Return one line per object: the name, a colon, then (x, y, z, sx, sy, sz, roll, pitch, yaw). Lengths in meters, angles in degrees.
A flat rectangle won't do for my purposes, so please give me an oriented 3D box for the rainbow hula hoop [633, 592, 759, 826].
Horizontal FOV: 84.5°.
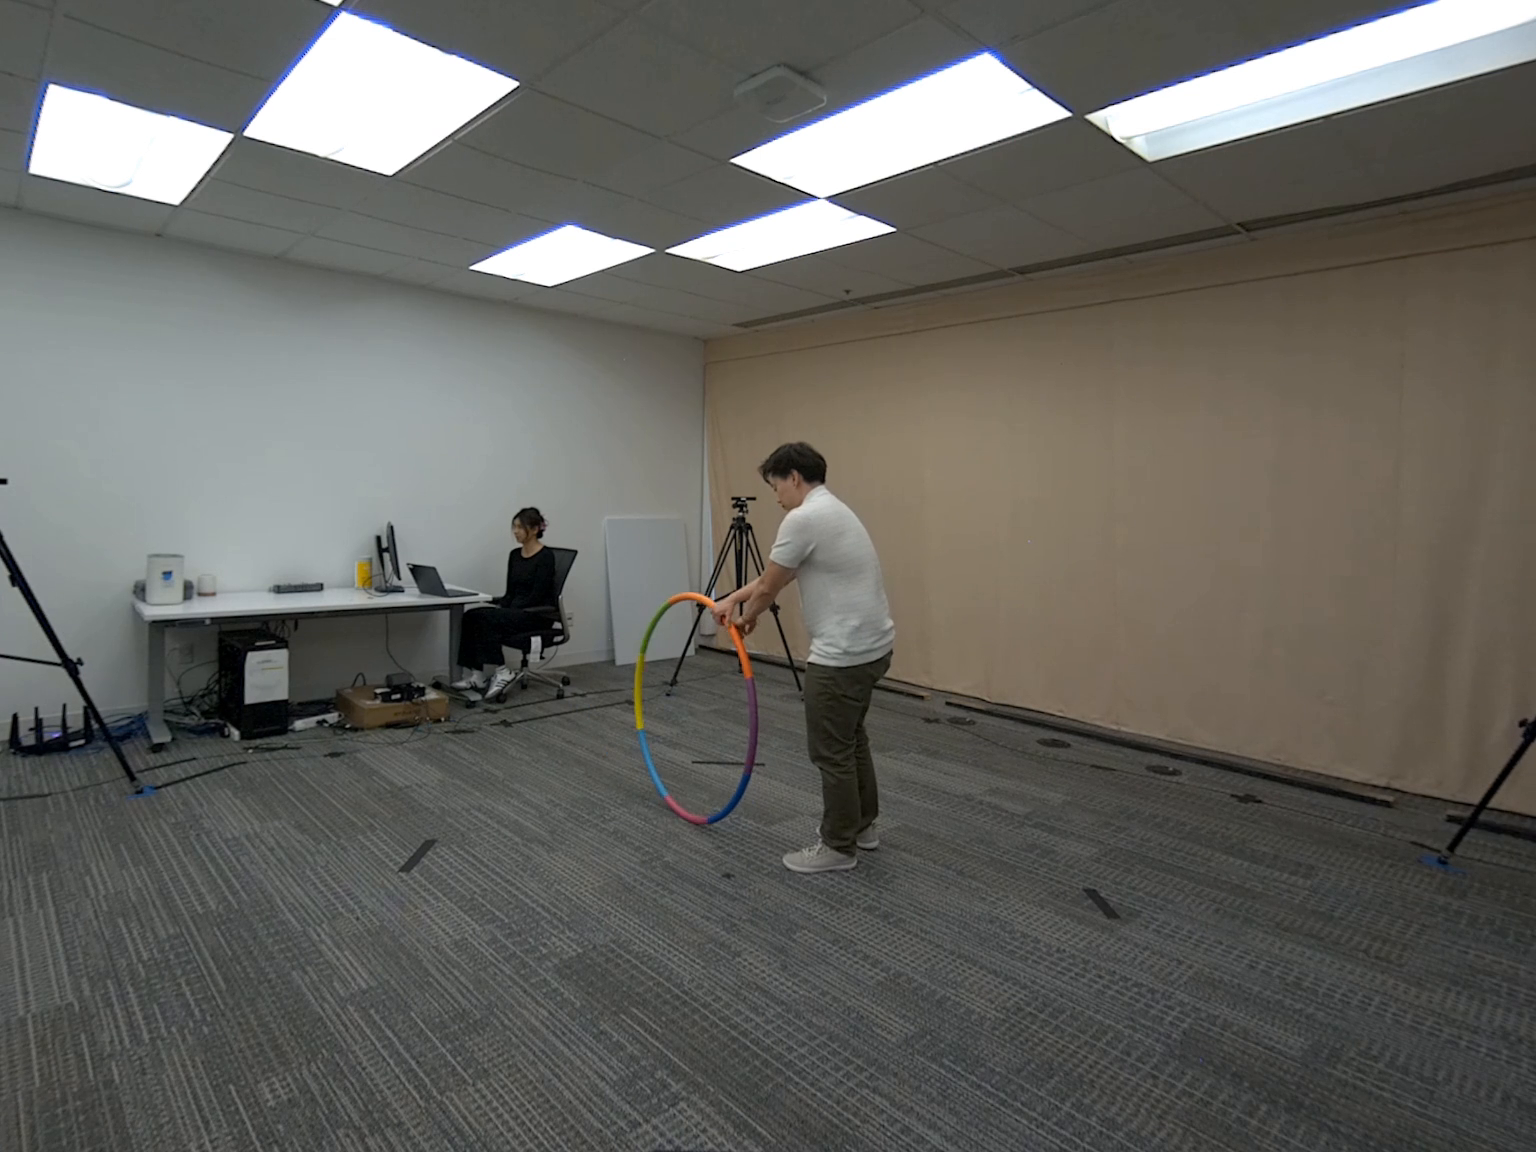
rainbow hula hoop: (-0.340, 0.568, 3.641, 0.035, 0.977, 1.003, 1, 3, -36)
